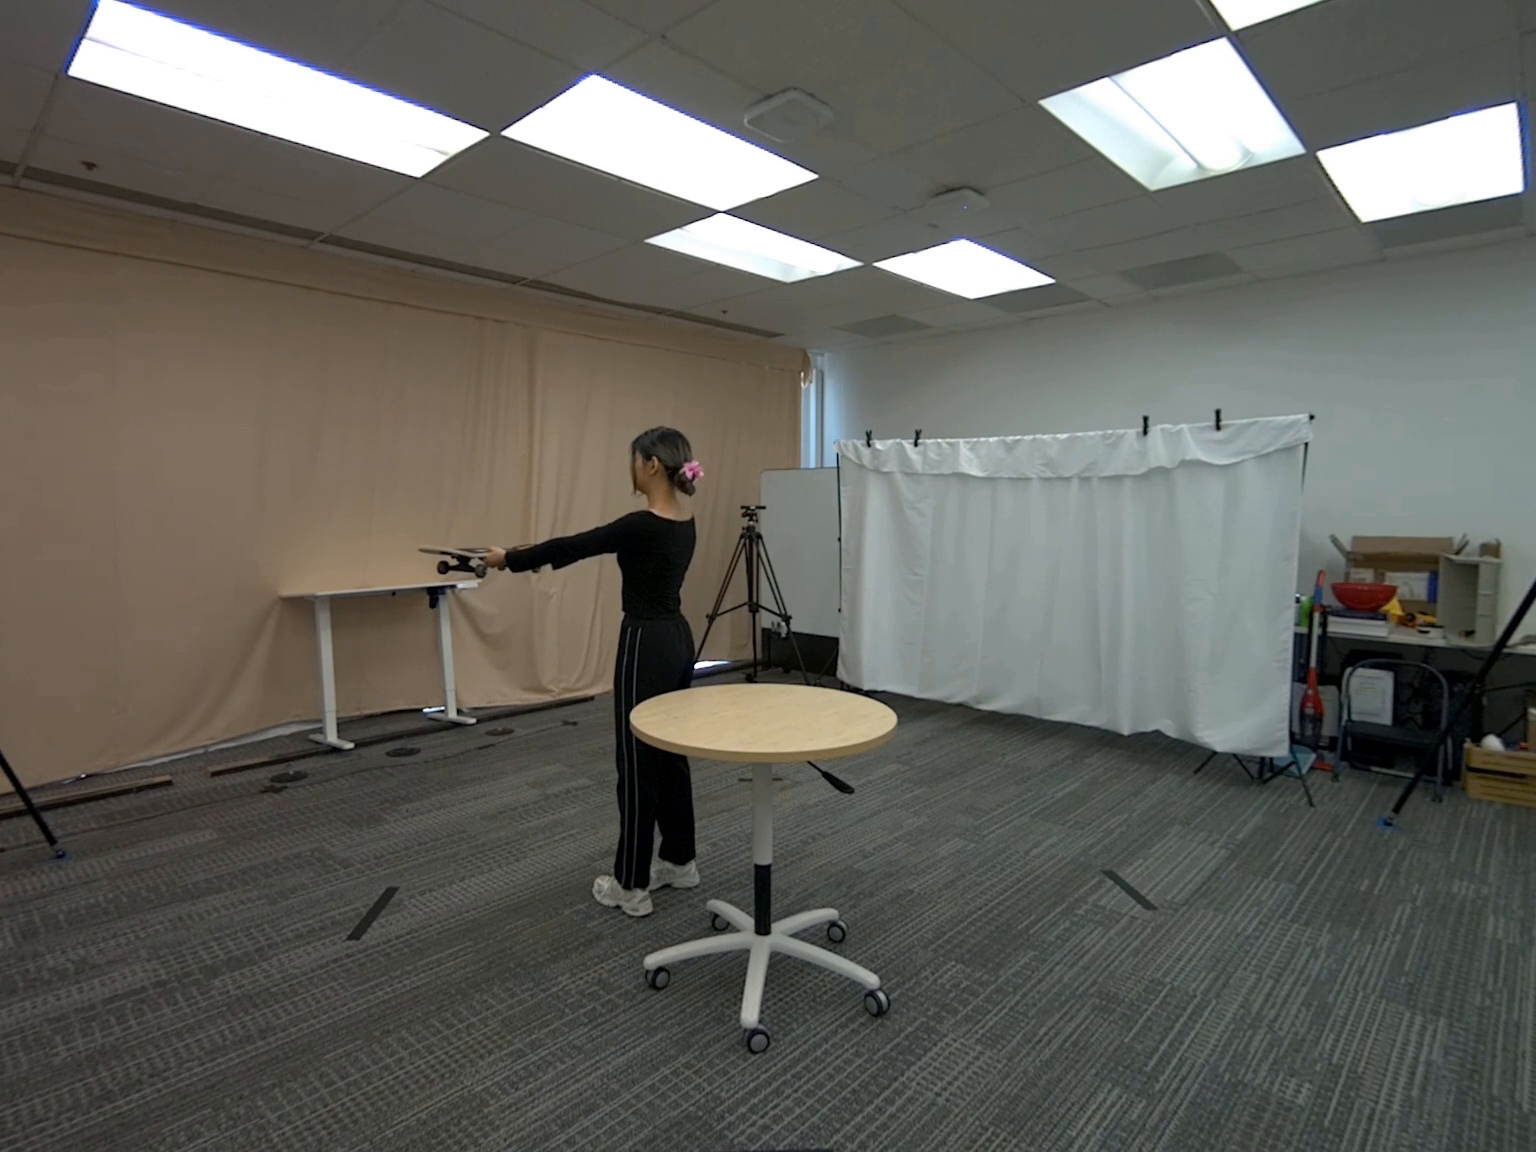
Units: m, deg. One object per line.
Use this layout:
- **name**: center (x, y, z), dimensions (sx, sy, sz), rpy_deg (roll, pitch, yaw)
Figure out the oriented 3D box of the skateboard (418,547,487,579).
- **skateboard**: center (-1.037, -0.058, 3.171), dimensions (0.196, 0.110, 0.775), rpy_deg (6, 4, 12)
